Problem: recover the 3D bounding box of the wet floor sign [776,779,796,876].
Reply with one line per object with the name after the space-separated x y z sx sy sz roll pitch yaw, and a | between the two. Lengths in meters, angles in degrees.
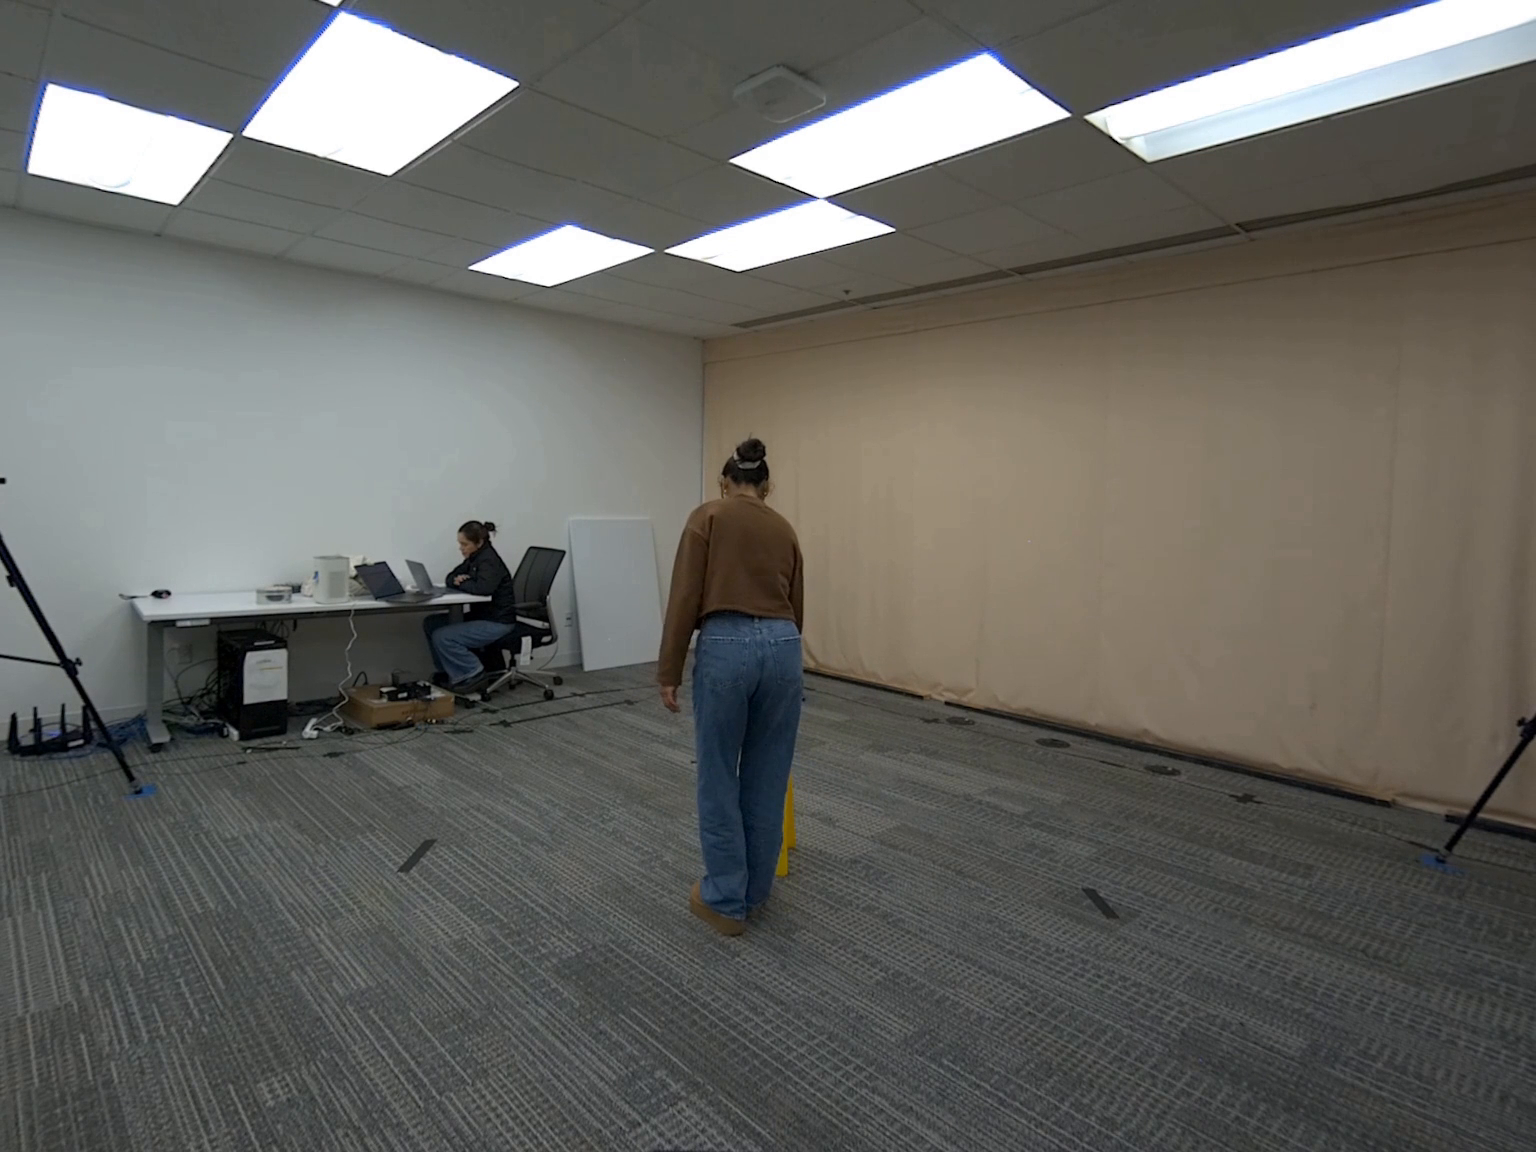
-0.051 0.782 3.257 0.284 0.645 0.288 2 3 9 | wet floor sign
